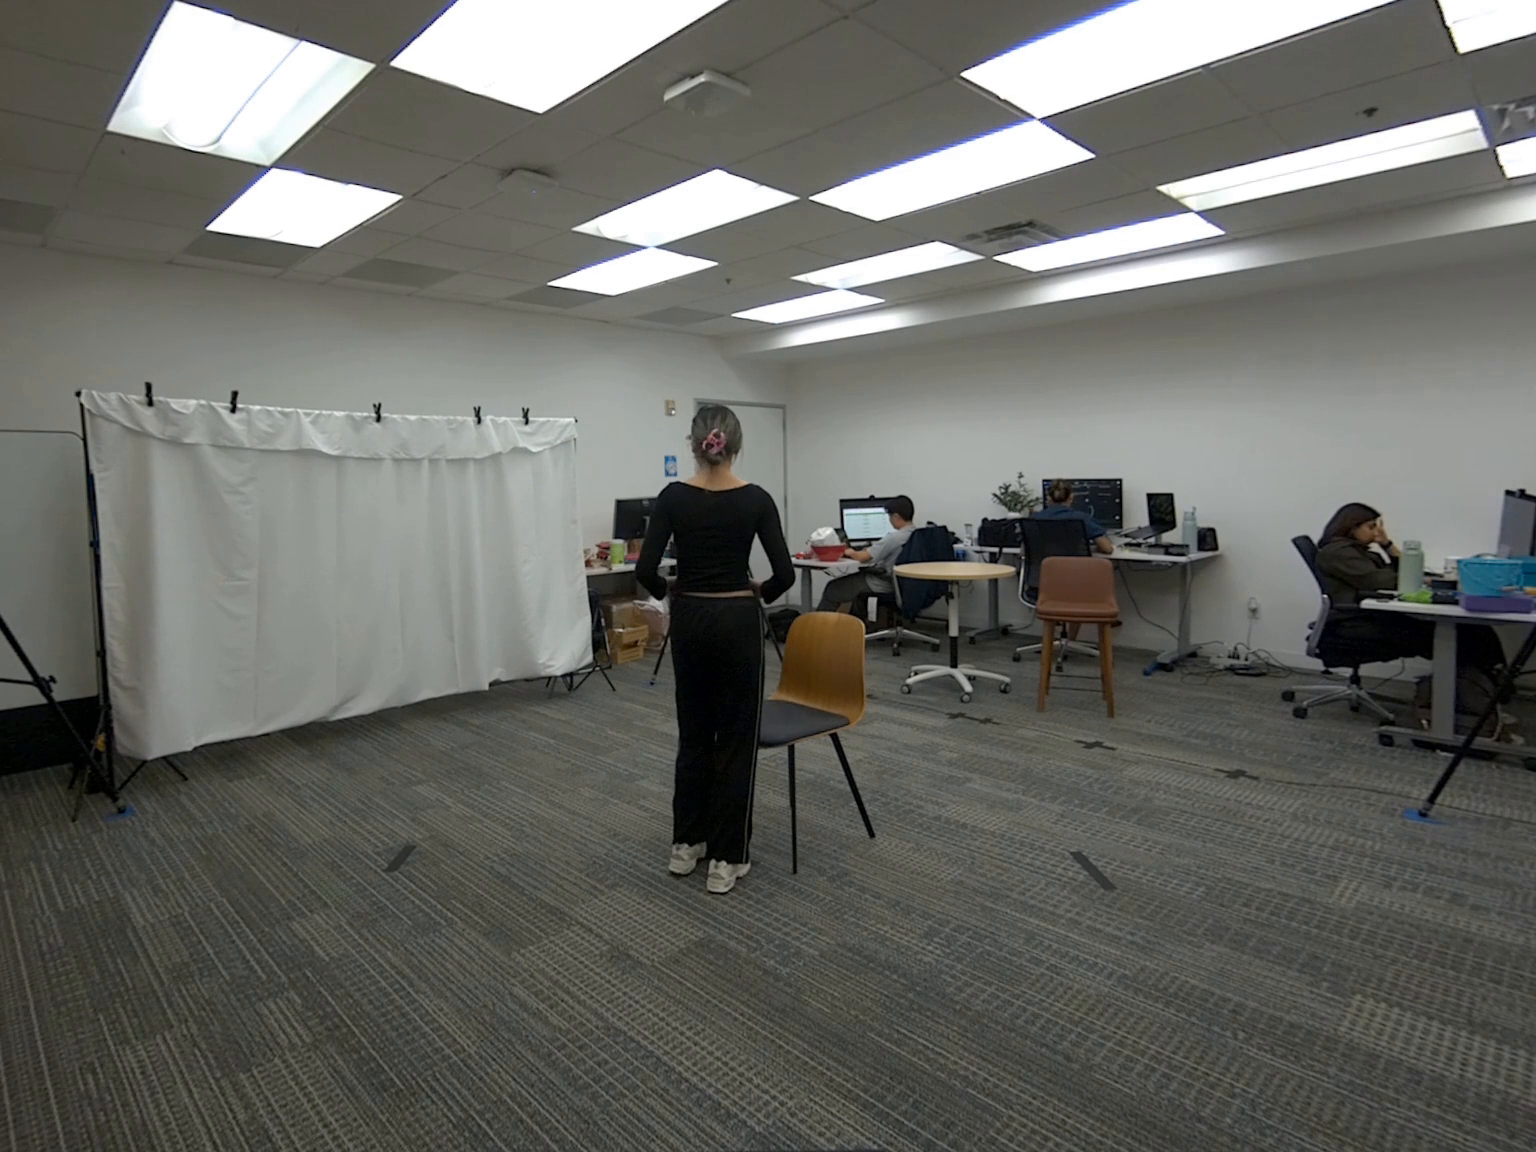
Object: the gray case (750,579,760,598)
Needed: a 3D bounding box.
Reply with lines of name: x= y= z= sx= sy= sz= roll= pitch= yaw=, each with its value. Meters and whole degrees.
gray case: x=-0.198 y=0.025 z=3.161 sx=0.256 sy=0.261 sz=0.105 roll=-2 pitch=0 yaw=-5
